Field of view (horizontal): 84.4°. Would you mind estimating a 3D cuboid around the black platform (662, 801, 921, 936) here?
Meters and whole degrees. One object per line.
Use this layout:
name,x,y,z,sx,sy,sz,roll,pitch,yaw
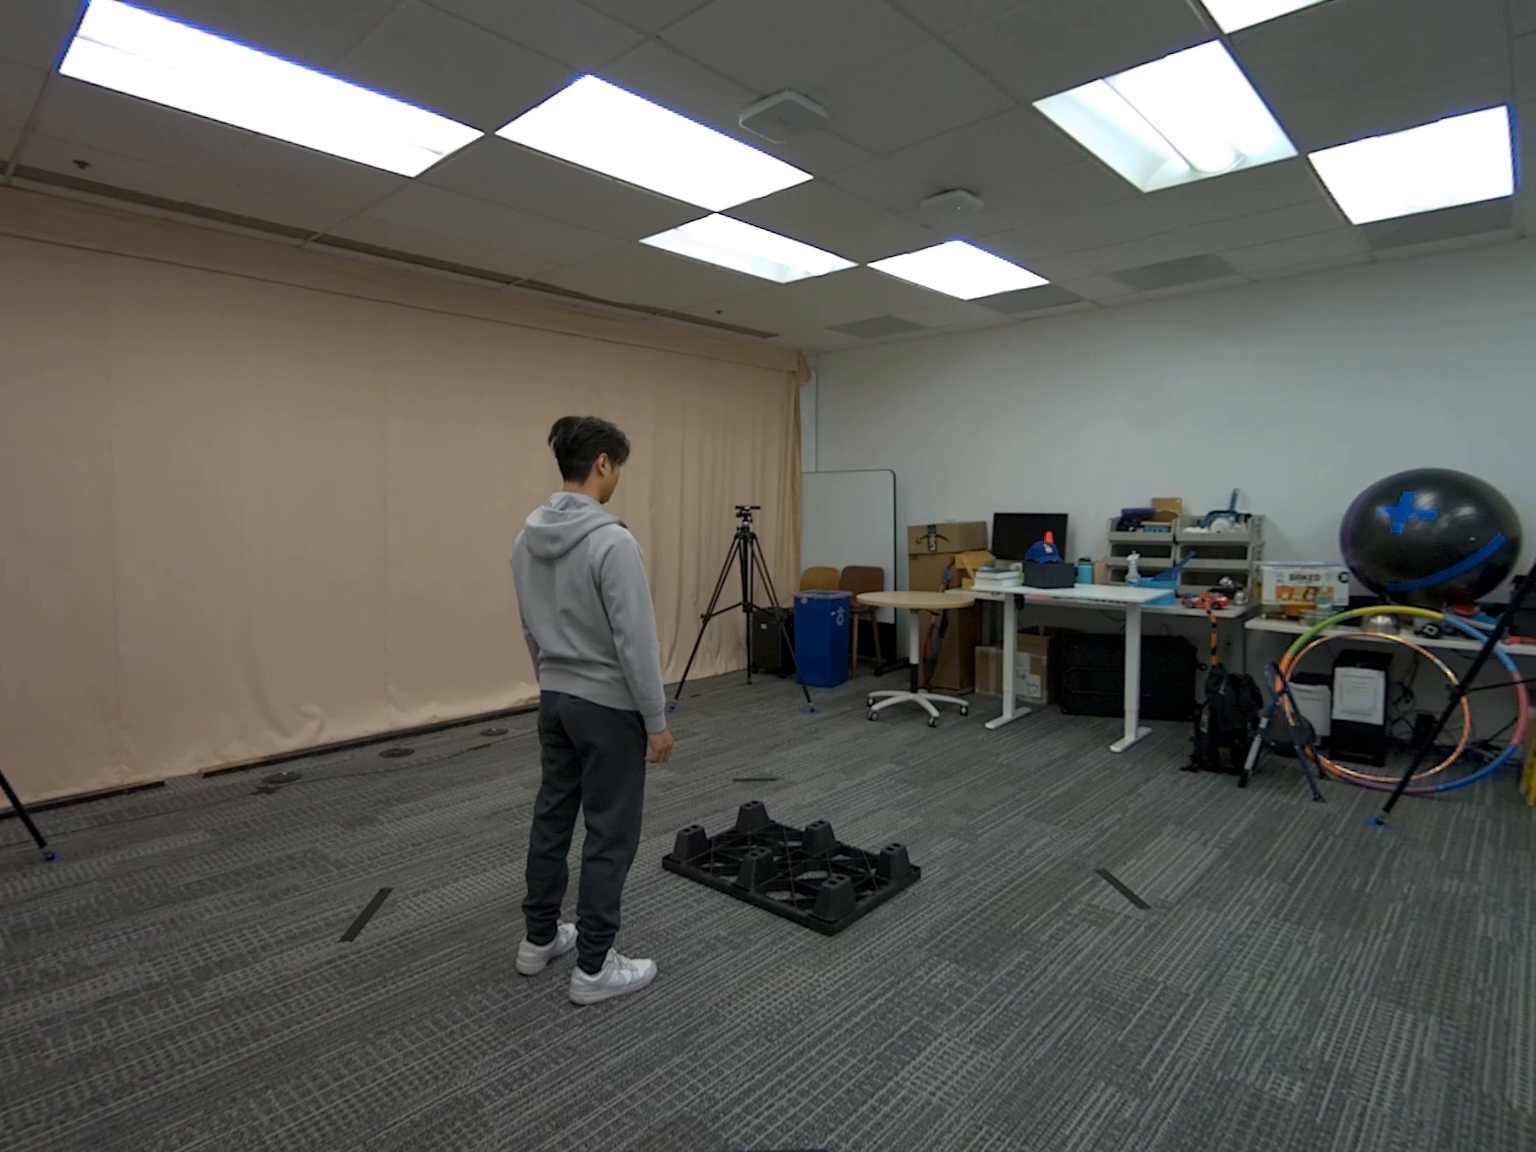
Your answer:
black platform,0.090,1.060,3.192,0.832,0.143,0.587,4,7,40
